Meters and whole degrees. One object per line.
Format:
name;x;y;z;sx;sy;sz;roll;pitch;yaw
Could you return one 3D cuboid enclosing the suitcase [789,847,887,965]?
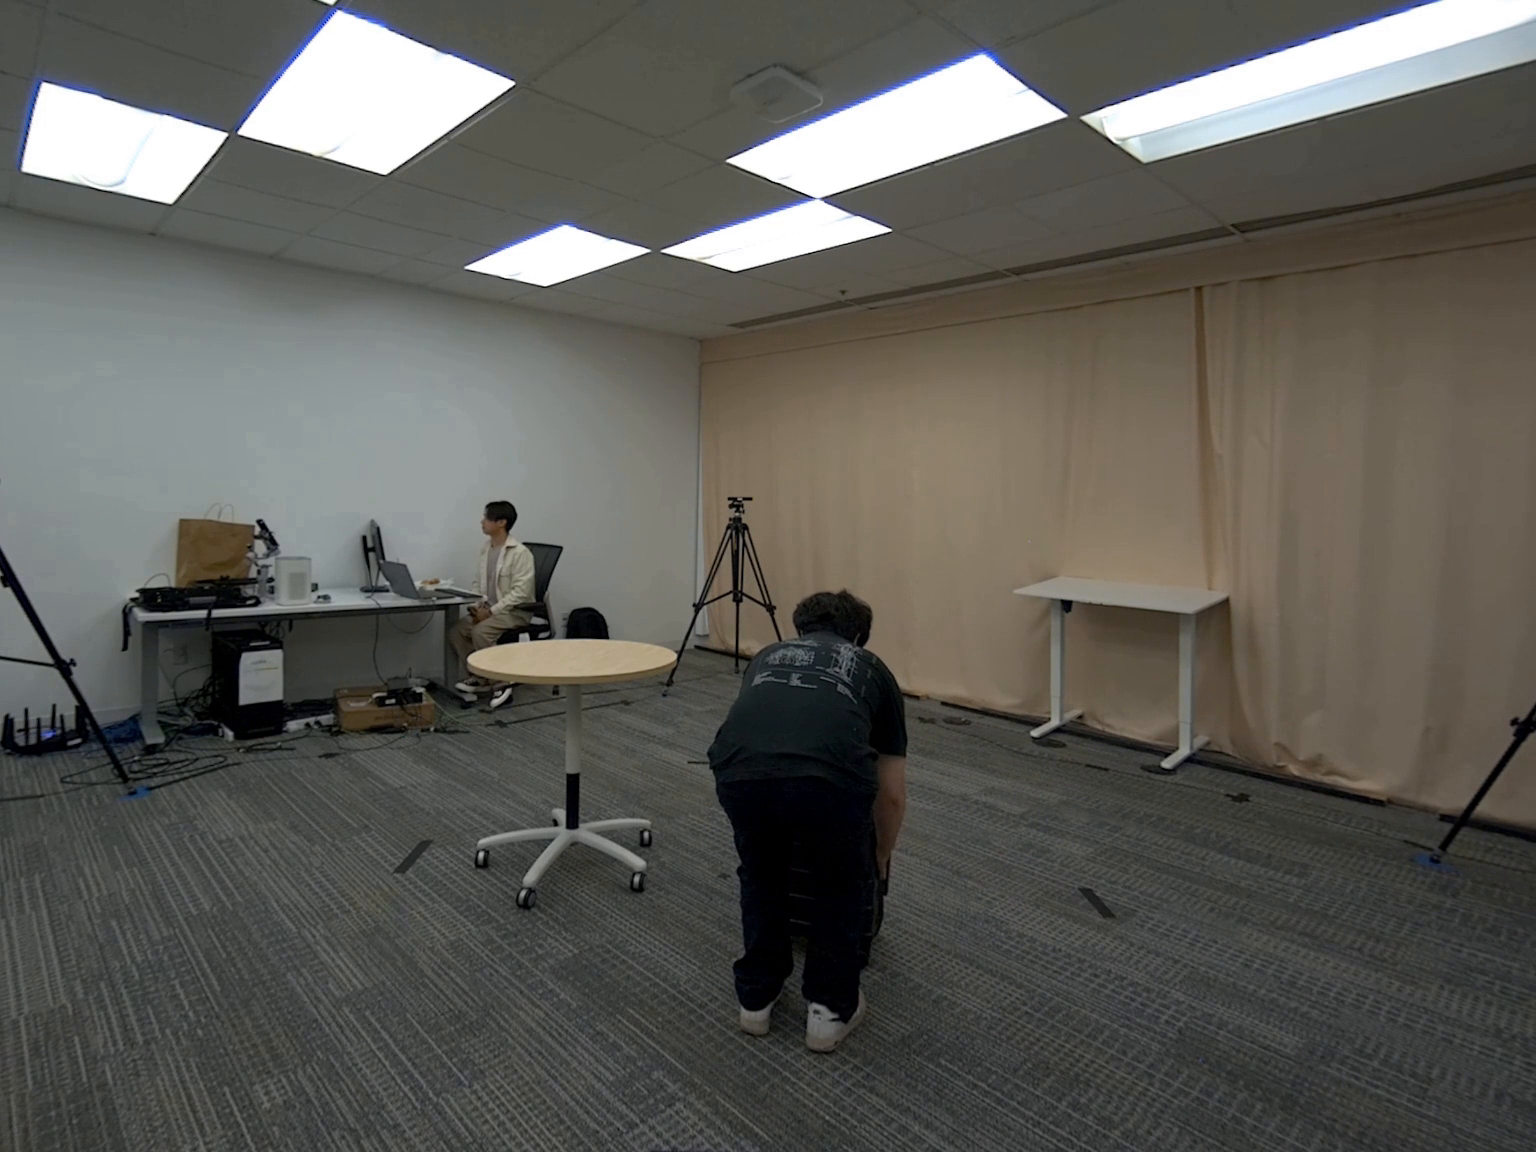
suitcase;0.196;0.887;2.642;0.381;0.548;0.245;7;3;18
